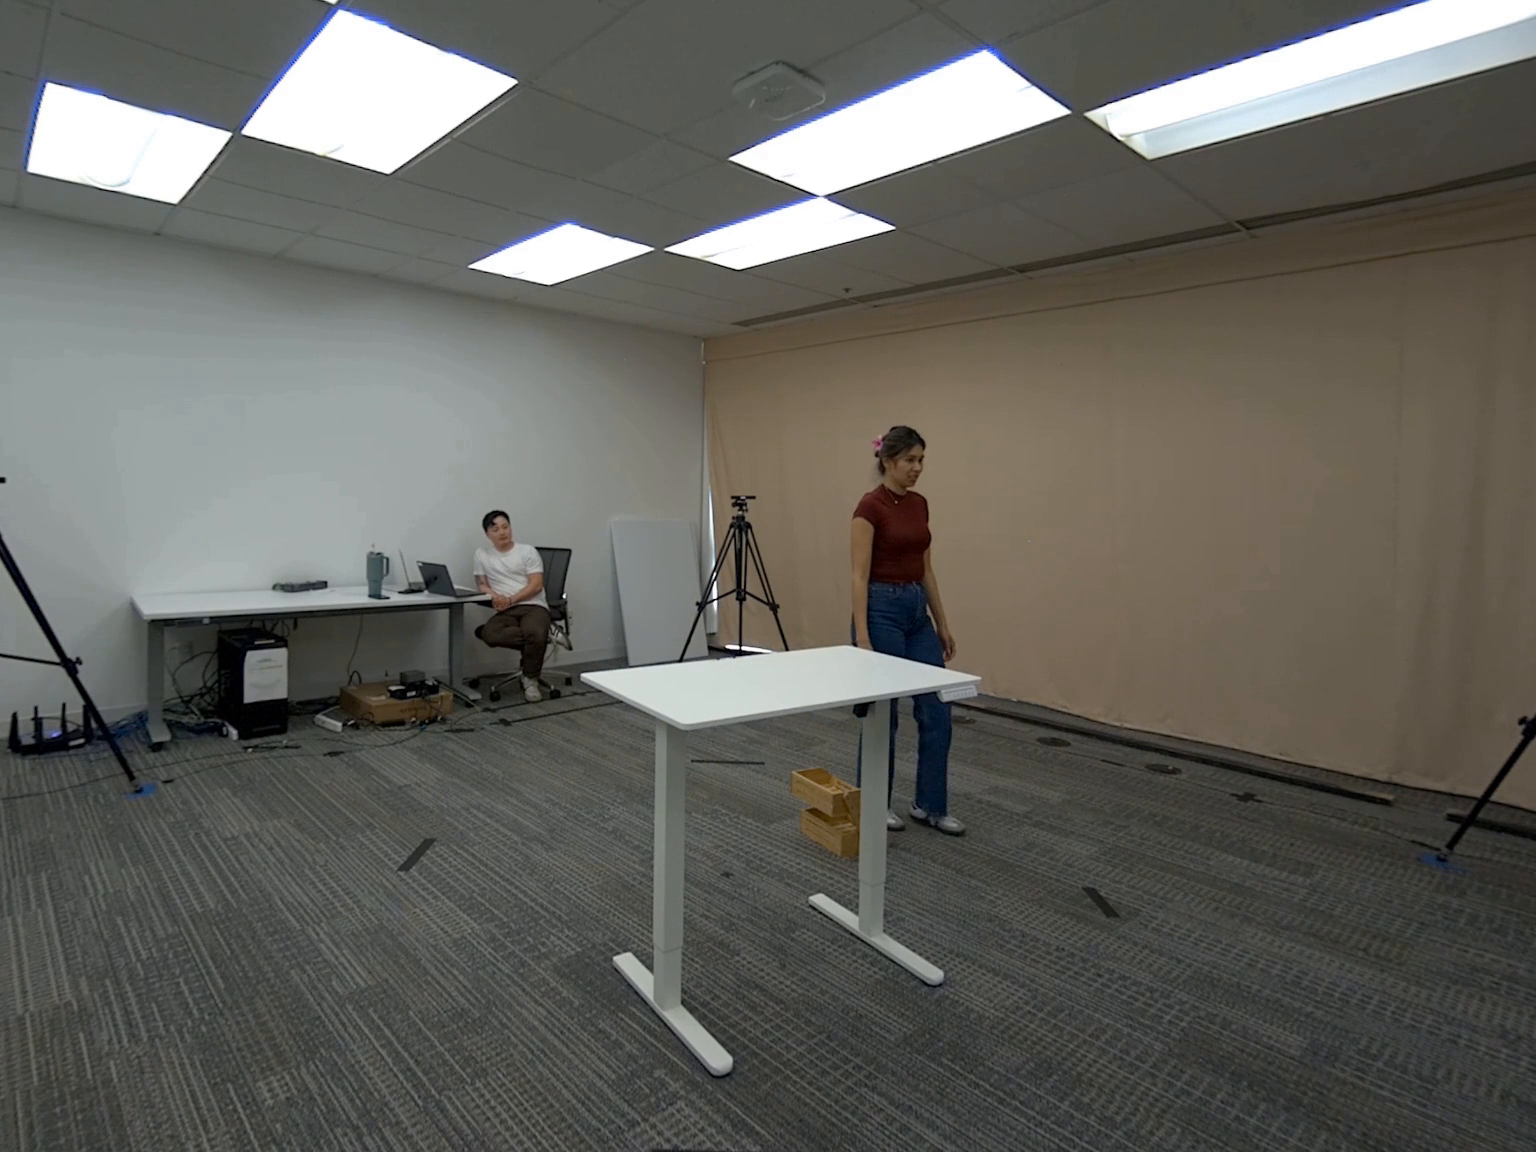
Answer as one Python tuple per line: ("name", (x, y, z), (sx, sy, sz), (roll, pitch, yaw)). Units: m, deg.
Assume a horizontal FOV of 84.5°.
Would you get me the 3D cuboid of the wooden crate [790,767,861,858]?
("wooden crate", (0.291, 0.948, 3.445), (0.296, 0.272, 0.332), (-1, 5, -30))
